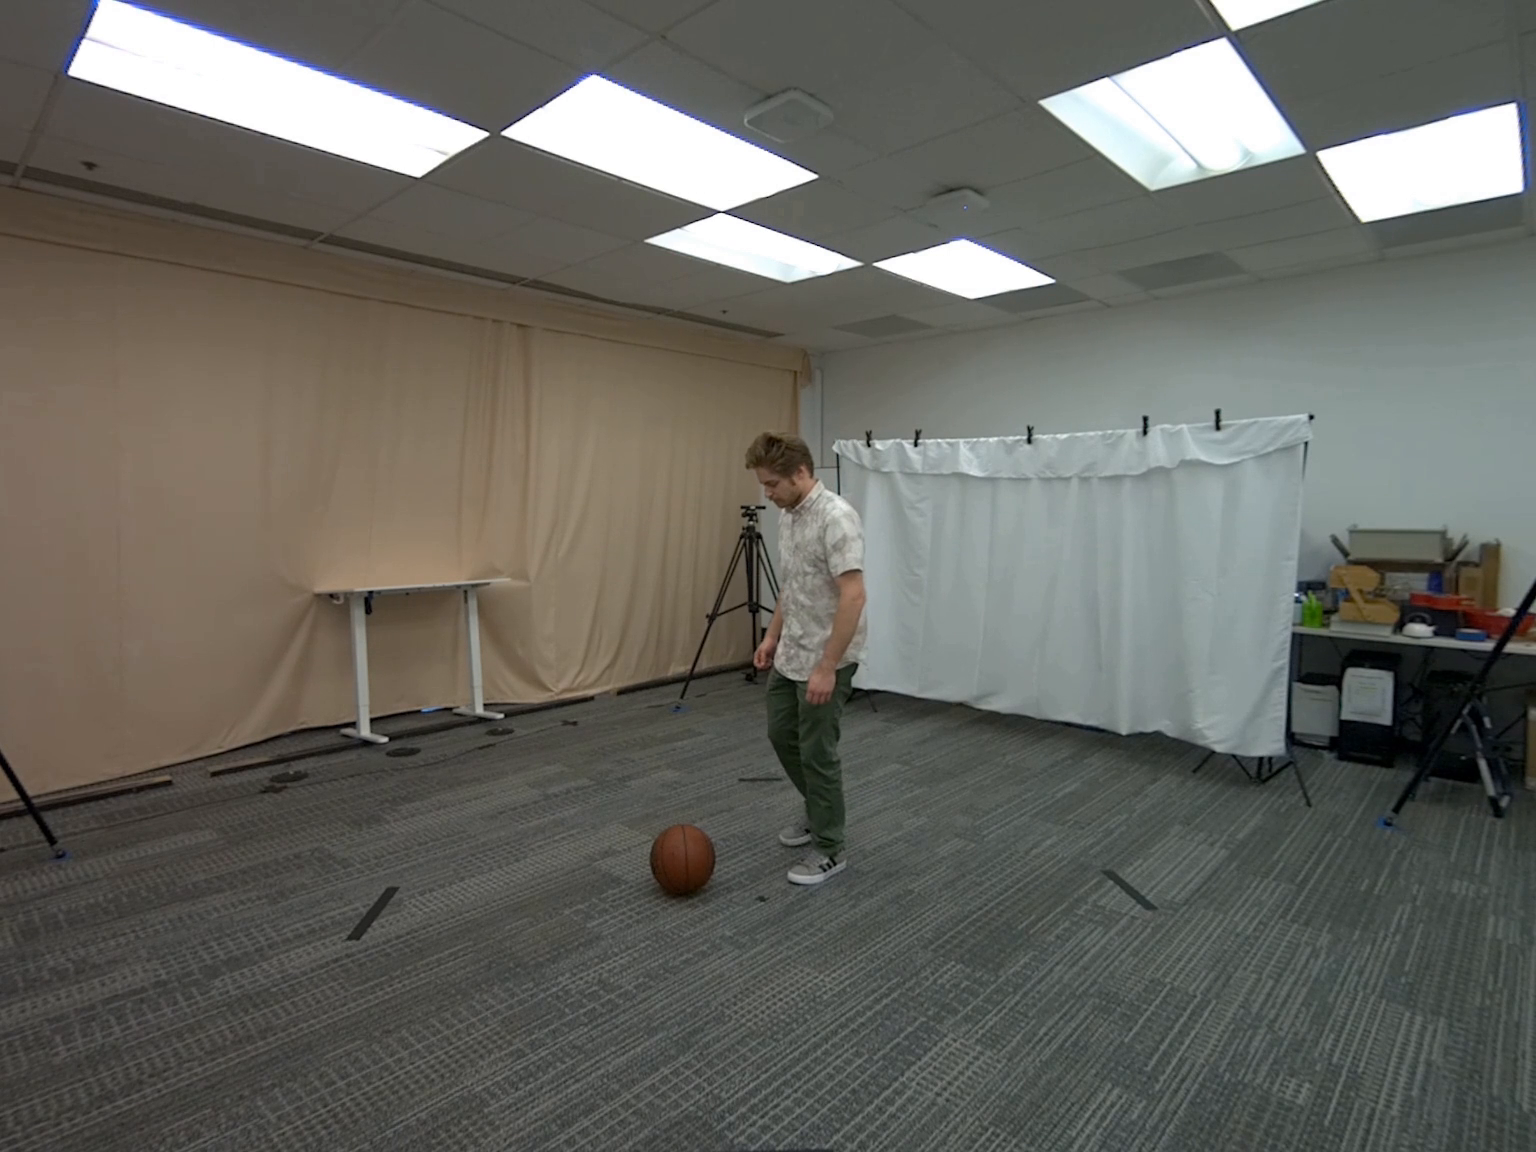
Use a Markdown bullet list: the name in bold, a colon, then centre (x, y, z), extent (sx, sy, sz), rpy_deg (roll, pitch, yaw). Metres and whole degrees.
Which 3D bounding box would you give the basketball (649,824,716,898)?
- **basketball**: centre (-0.303, 1.014, 3.039), extent (0.236, 0.235, 0.237), rpy_deg (0, 4, -2)
